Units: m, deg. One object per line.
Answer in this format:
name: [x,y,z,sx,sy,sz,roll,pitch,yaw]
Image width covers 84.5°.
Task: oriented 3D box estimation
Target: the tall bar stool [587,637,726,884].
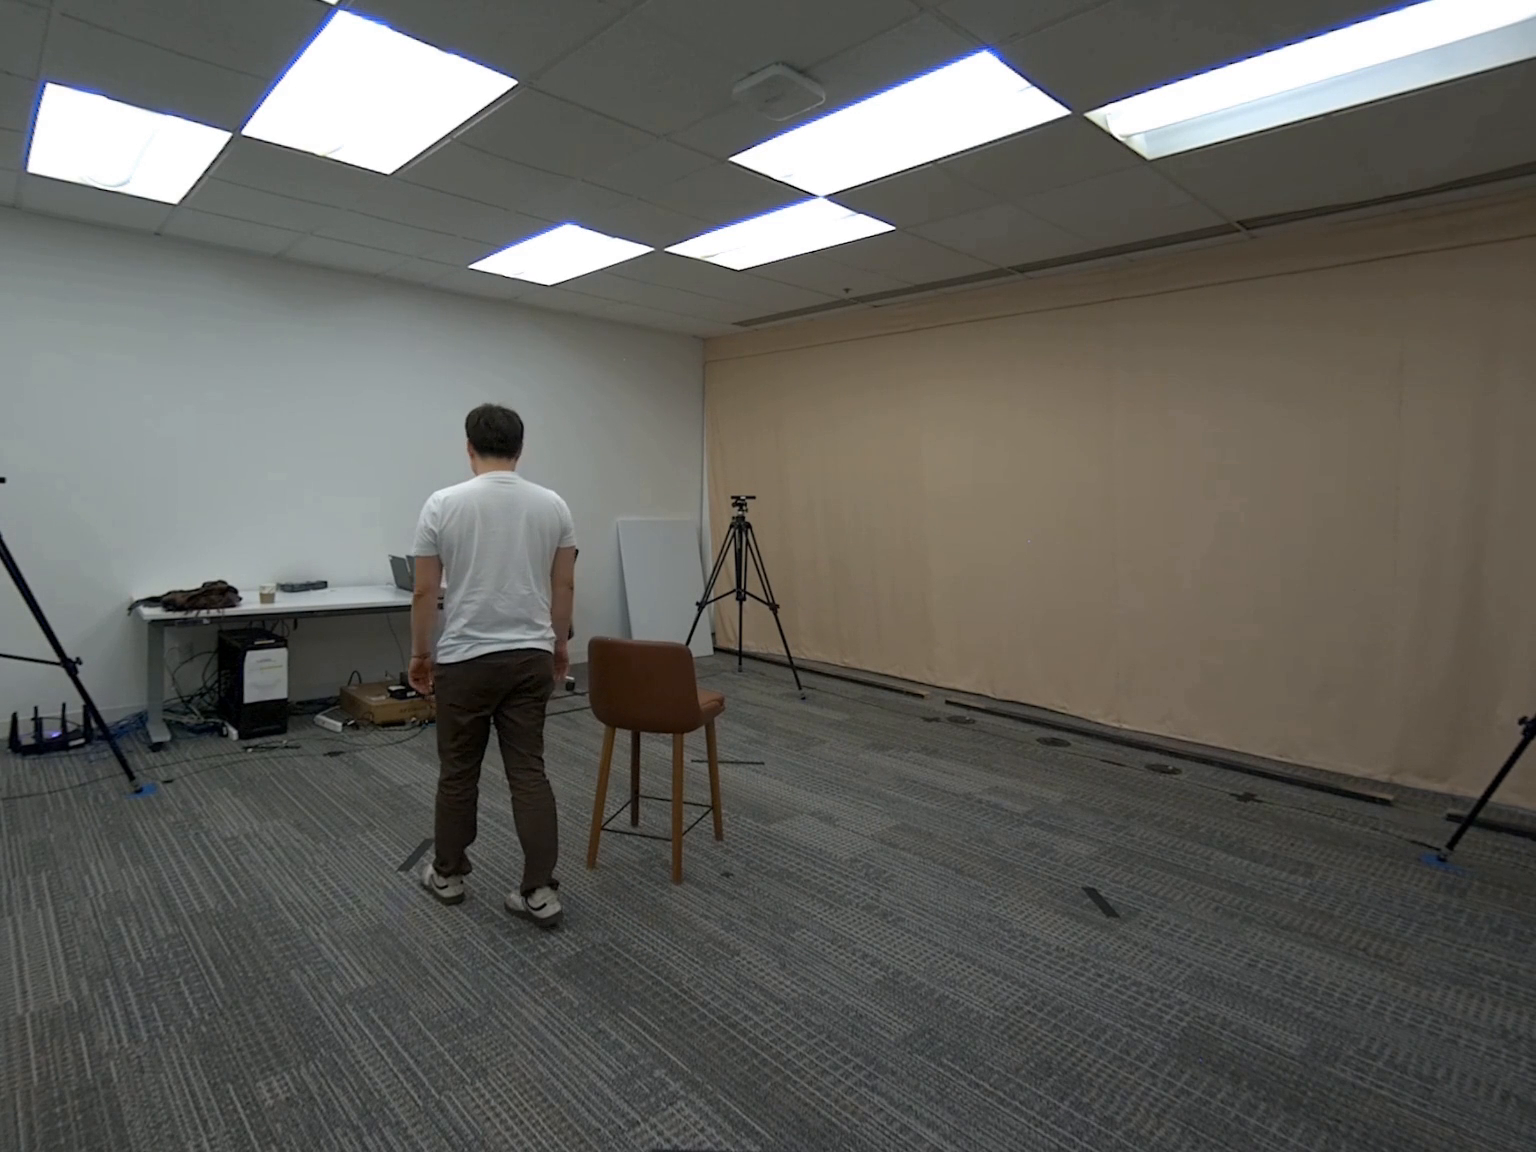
tall bar stool: [-0.439,0.649,3.255,0.463,0.887,0.462,2,5,19]
